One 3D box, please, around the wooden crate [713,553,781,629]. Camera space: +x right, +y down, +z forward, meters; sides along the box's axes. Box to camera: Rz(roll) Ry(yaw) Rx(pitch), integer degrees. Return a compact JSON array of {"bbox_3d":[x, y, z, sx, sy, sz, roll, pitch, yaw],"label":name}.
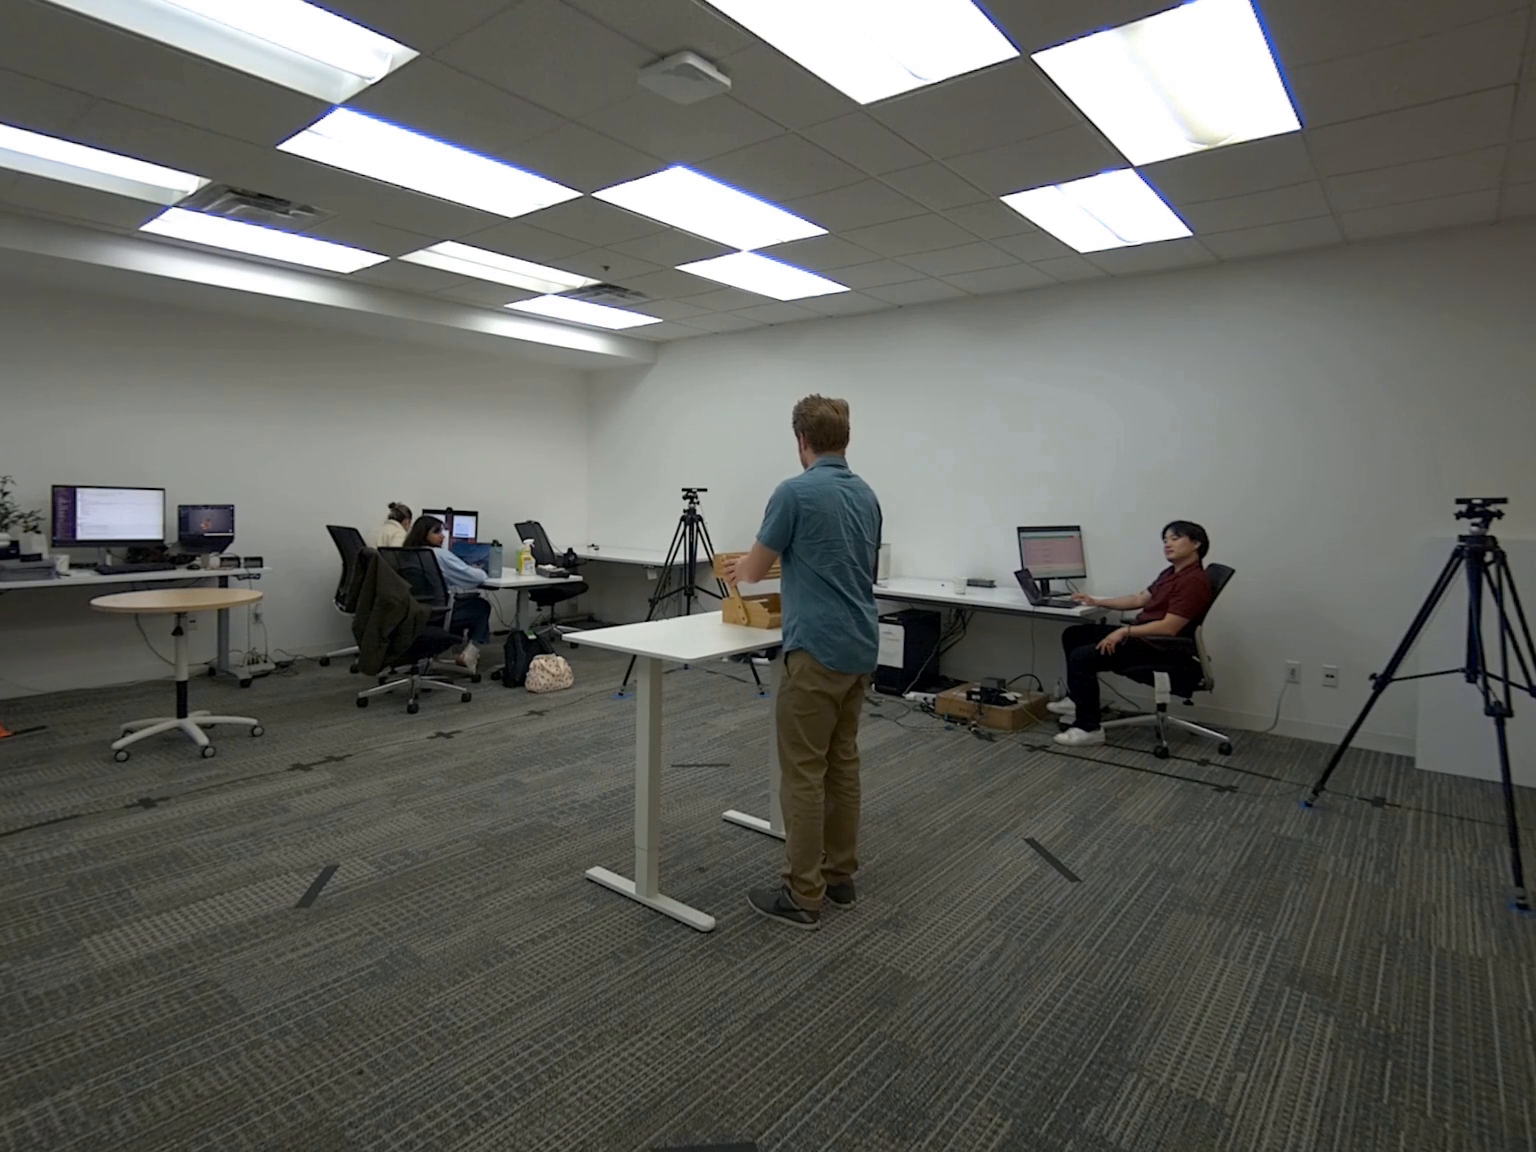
[{"bbox_3d":[-0.010,0.040,3.280,0.312,0.272,0.315,4,6,44],"label":"wooden crate"}]
